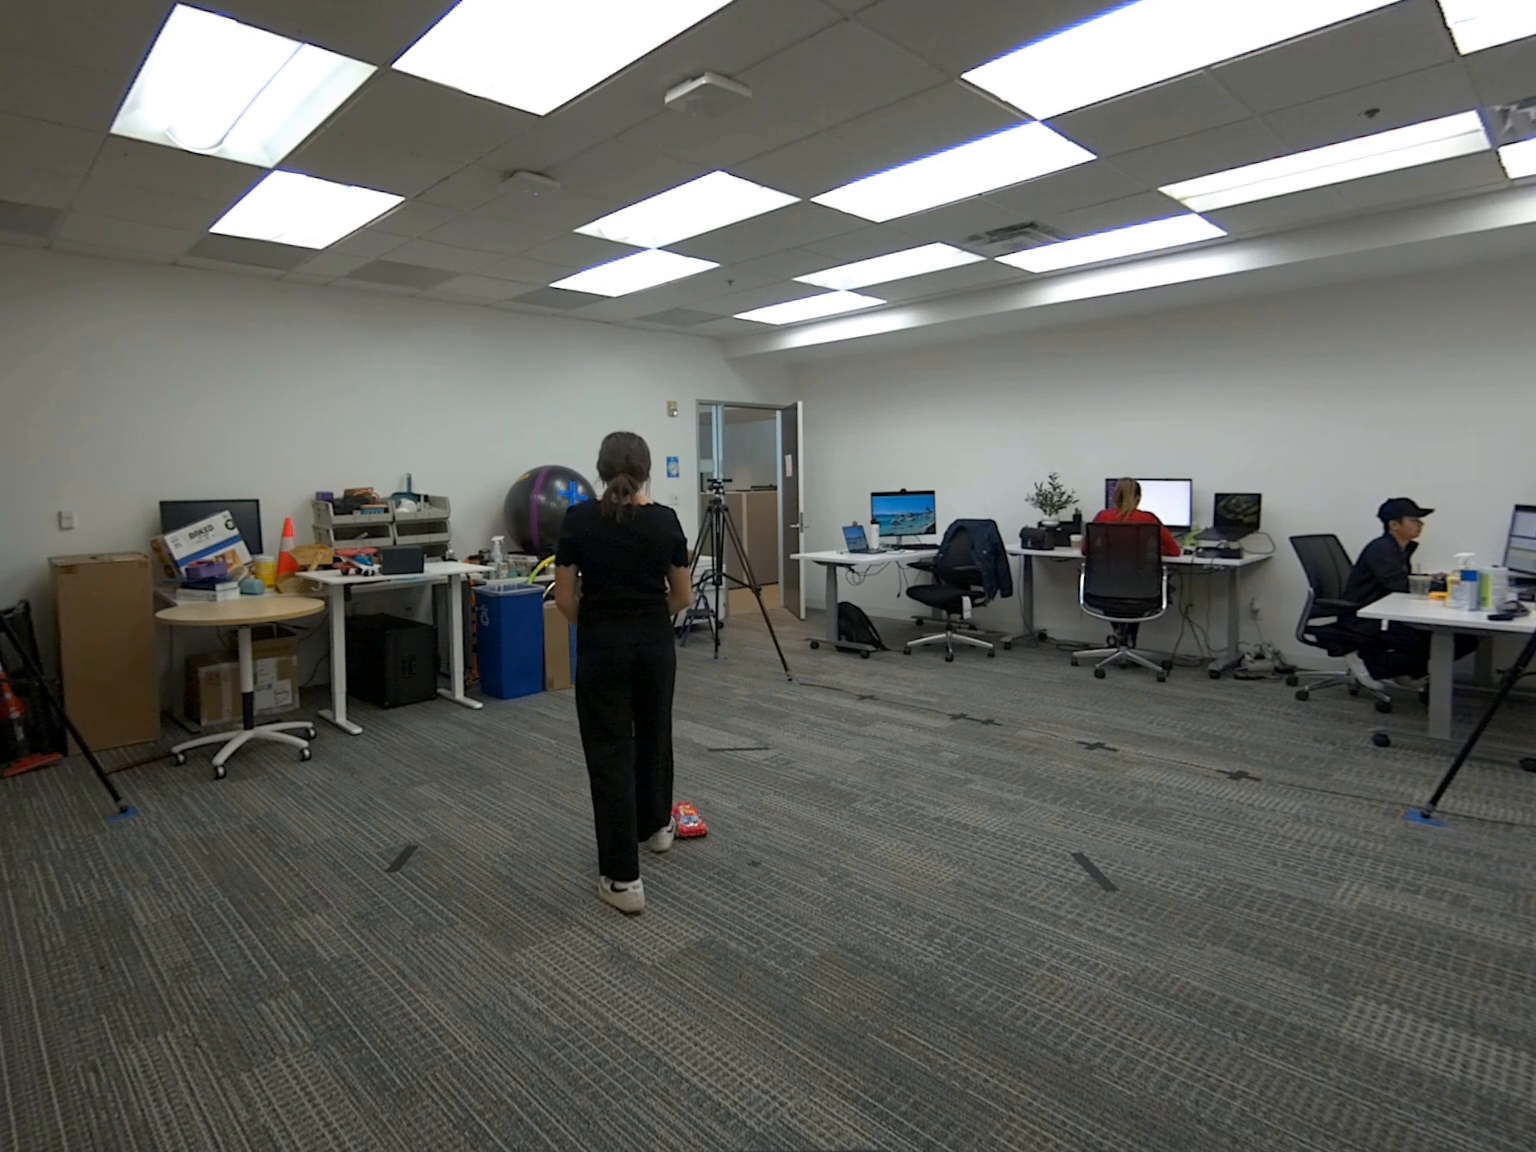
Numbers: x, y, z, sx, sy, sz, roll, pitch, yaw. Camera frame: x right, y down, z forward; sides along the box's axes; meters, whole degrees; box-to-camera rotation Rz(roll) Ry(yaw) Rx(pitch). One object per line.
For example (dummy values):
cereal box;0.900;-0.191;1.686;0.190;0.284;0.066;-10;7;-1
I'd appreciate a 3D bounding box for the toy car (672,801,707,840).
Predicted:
toy car;-0.322;0.981;3.430;0.128;0.082;0.261;-2;17;-15
